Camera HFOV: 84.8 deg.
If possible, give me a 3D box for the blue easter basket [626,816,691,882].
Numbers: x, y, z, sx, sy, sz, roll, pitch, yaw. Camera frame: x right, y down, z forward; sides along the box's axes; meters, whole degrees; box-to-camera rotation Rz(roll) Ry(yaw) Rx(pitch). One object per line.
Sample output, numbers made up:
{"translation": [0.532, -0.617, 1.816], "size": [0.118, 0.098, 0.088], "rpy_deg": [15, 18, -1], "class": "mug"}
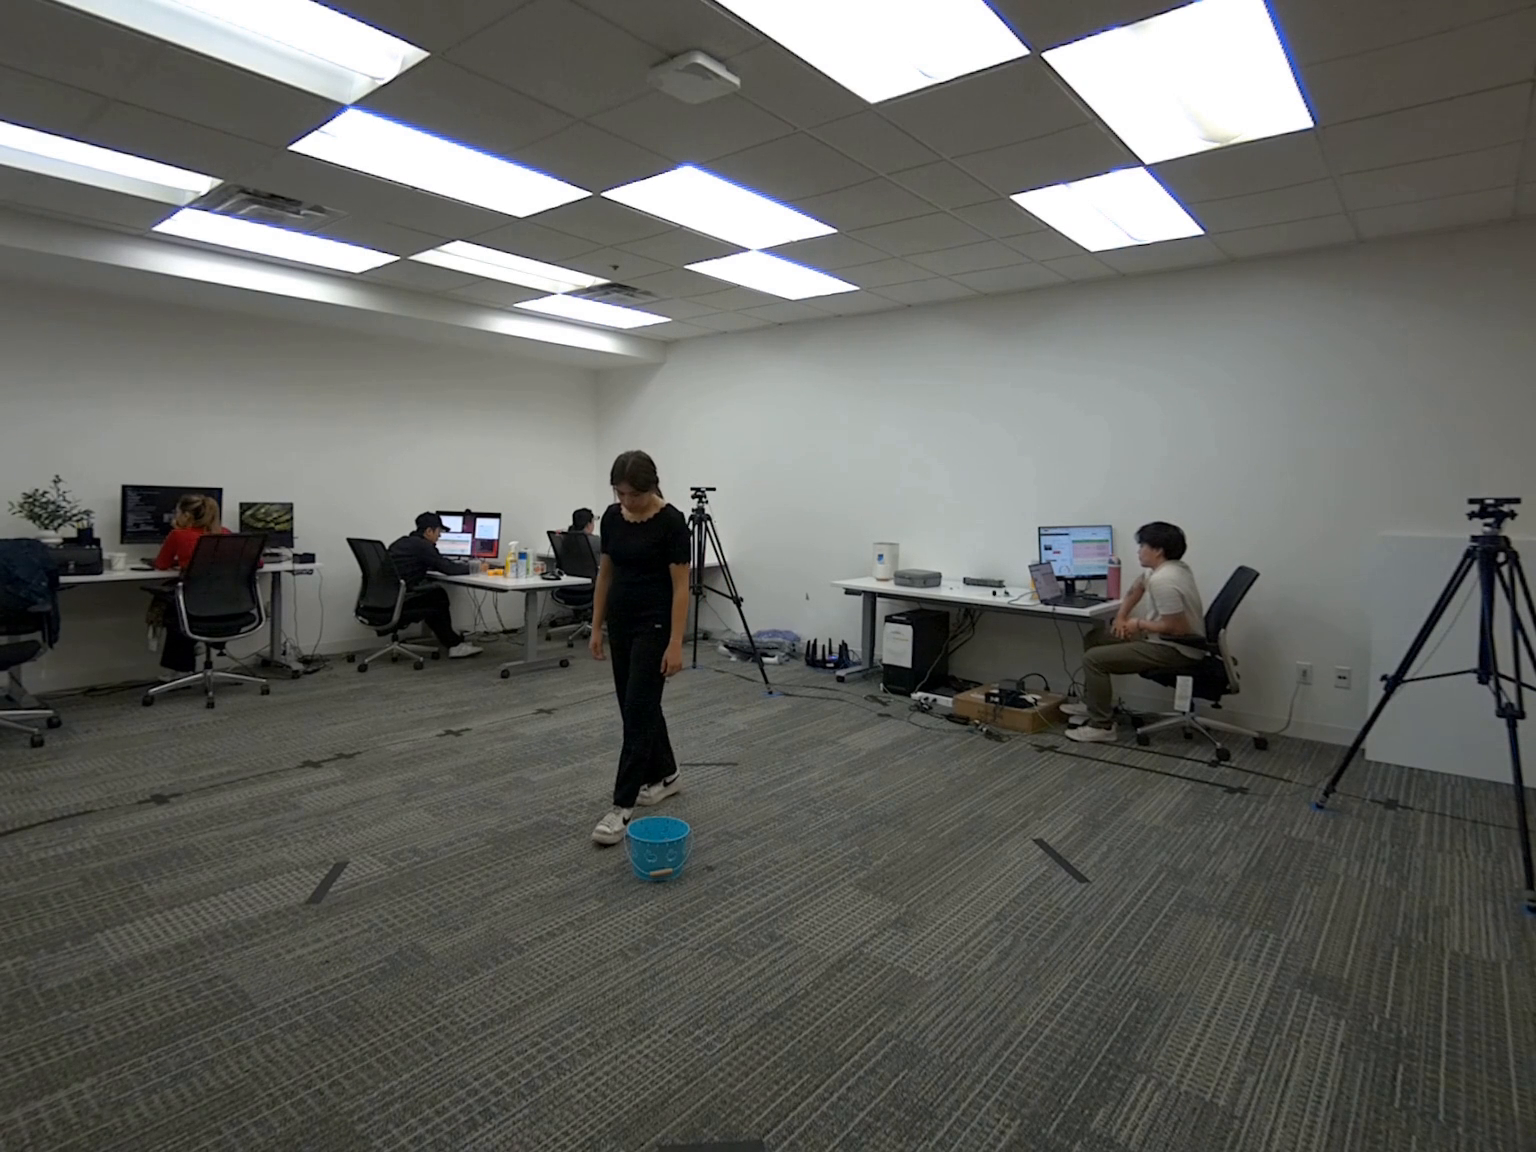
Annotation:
{"translation": [-0.408, 0.985, 3.081], "size": [0.243, 0.155, 0.245], "rpy_deg": [1, 4, -2], "class": "blue easter basket"}
